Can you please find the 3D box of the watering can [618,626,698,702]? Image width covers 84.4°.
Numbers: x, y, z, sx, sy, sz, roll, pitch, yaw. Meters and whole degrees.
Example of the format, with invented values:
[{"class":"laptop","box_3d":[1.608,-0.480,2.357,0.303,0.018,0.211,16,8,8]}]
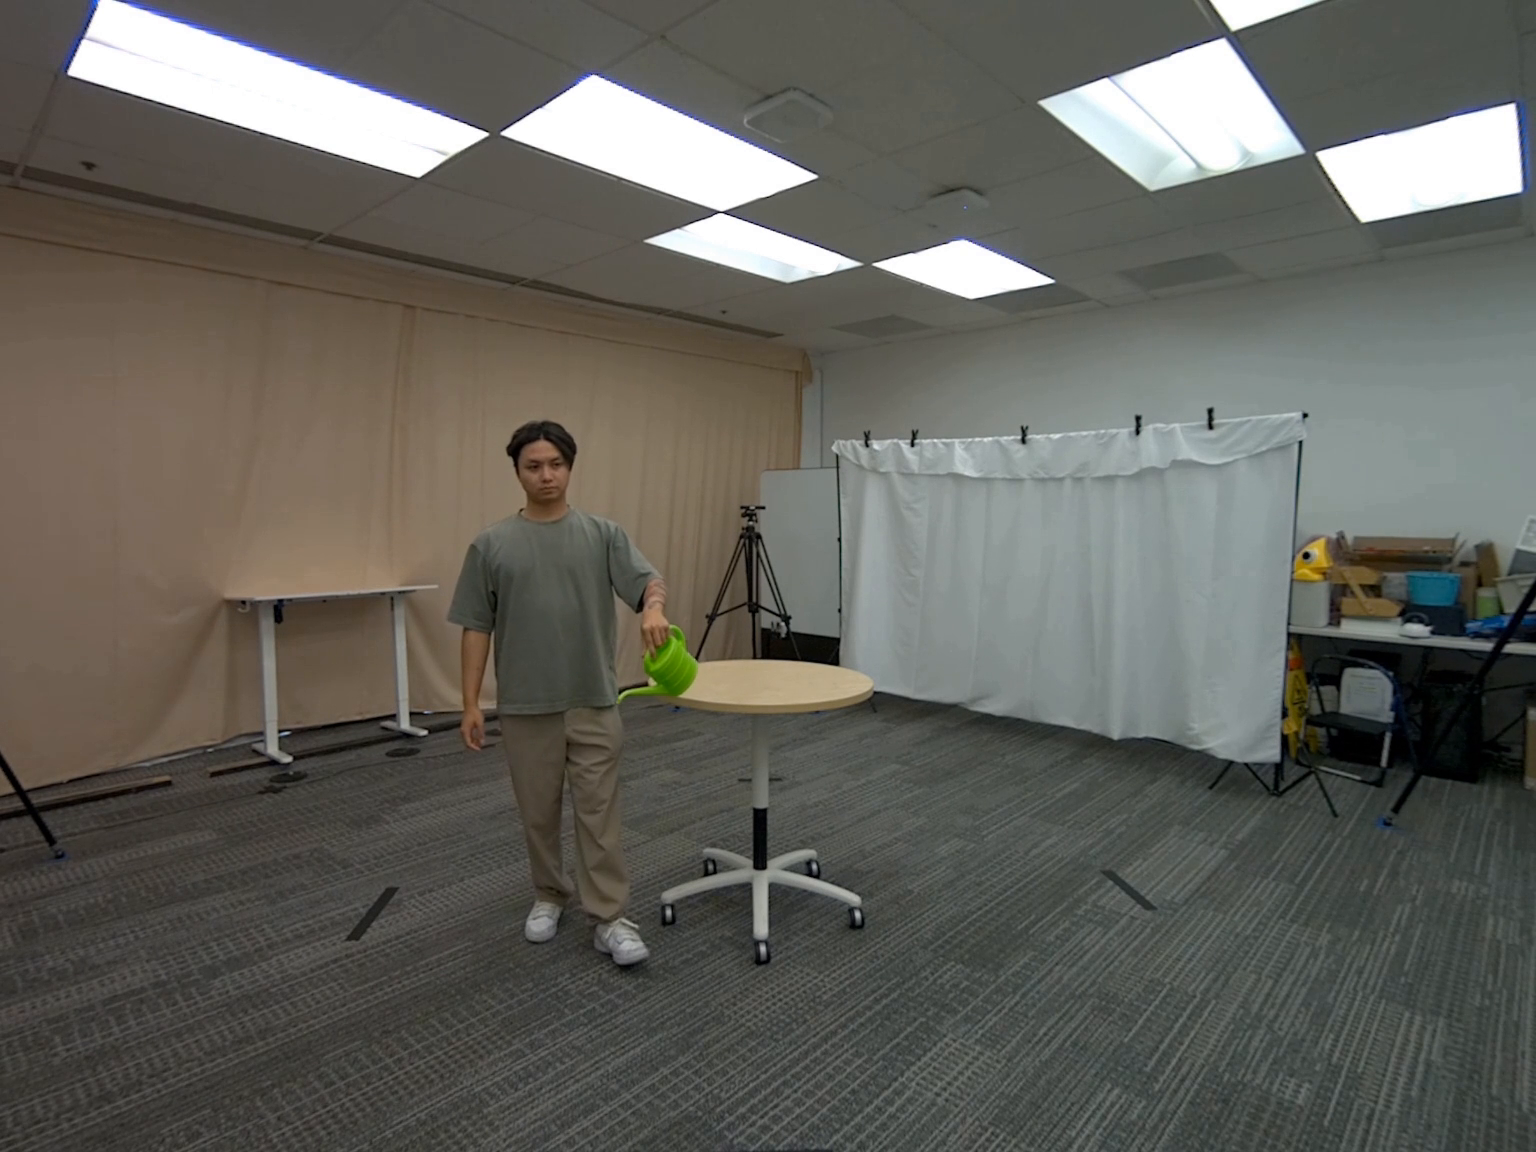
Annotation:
[{"class":"watering can","box_3d":[-0.305,0.282,2.377,0.101,0.277,0.171,19,-26,49]}]
